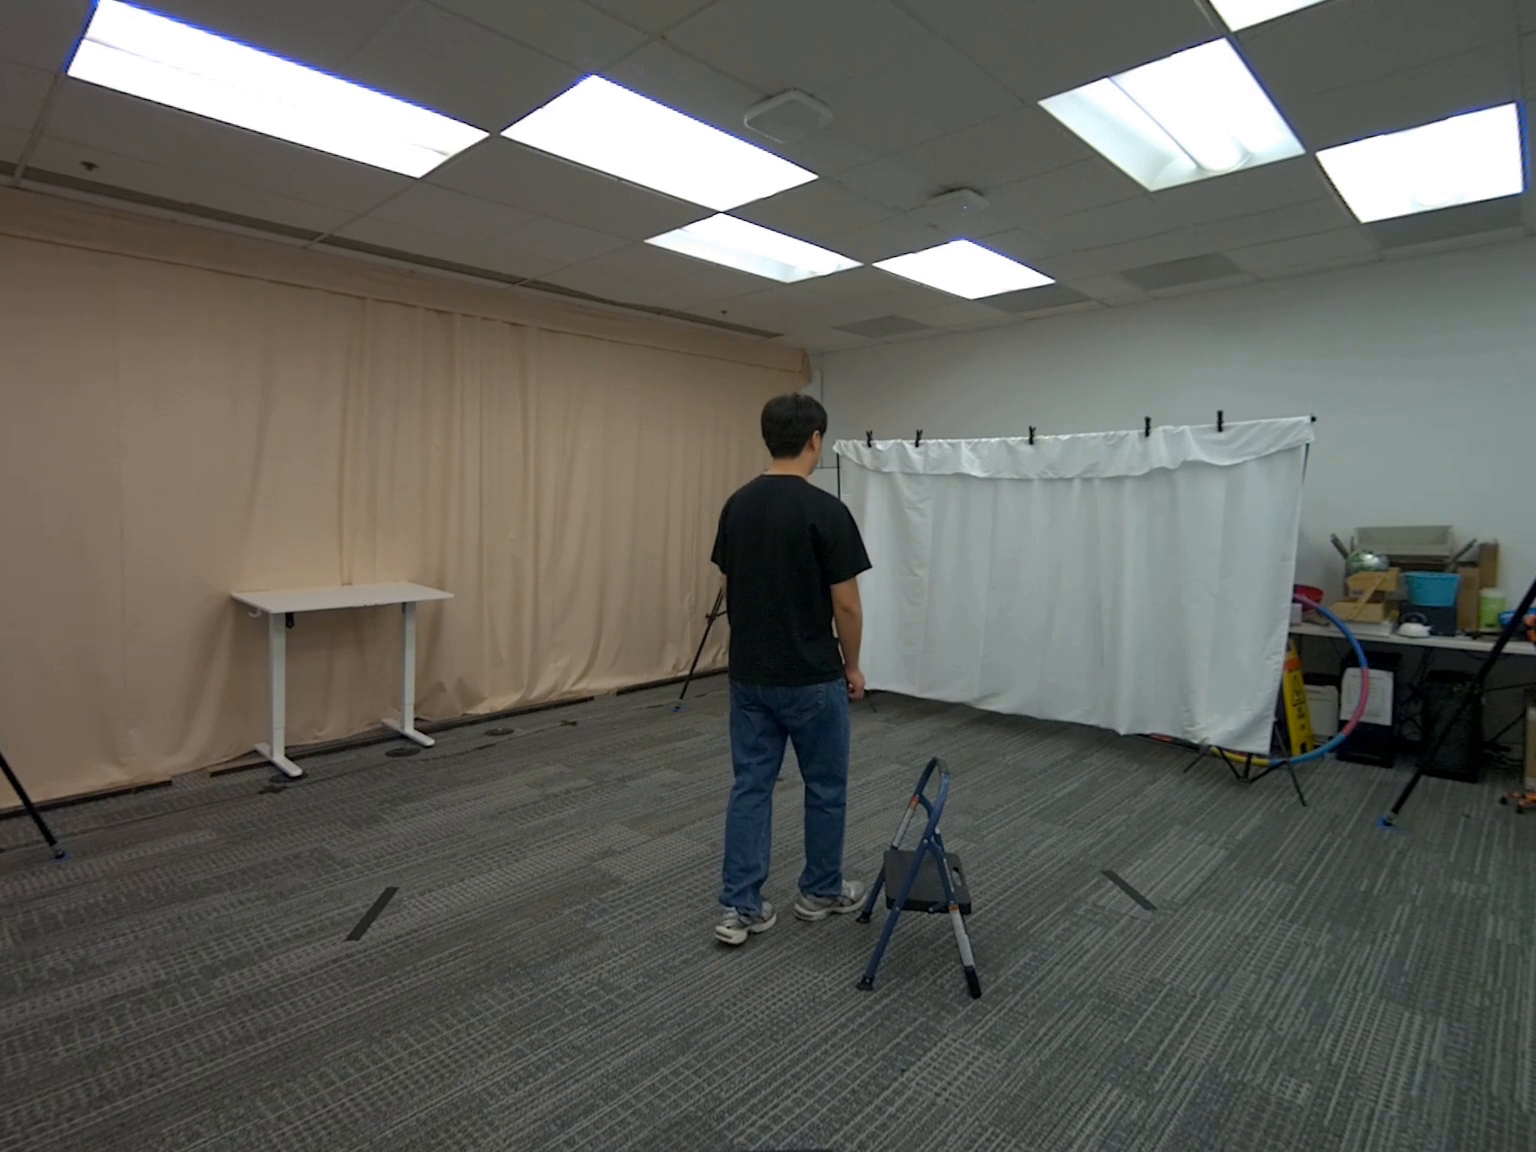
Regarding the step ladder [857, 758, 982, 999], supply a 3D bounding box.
[{"bbox_3d":[0.466,0.876,2.581,0.352,0.604,0.428,0,4,7],"label":"step ladder"}]
